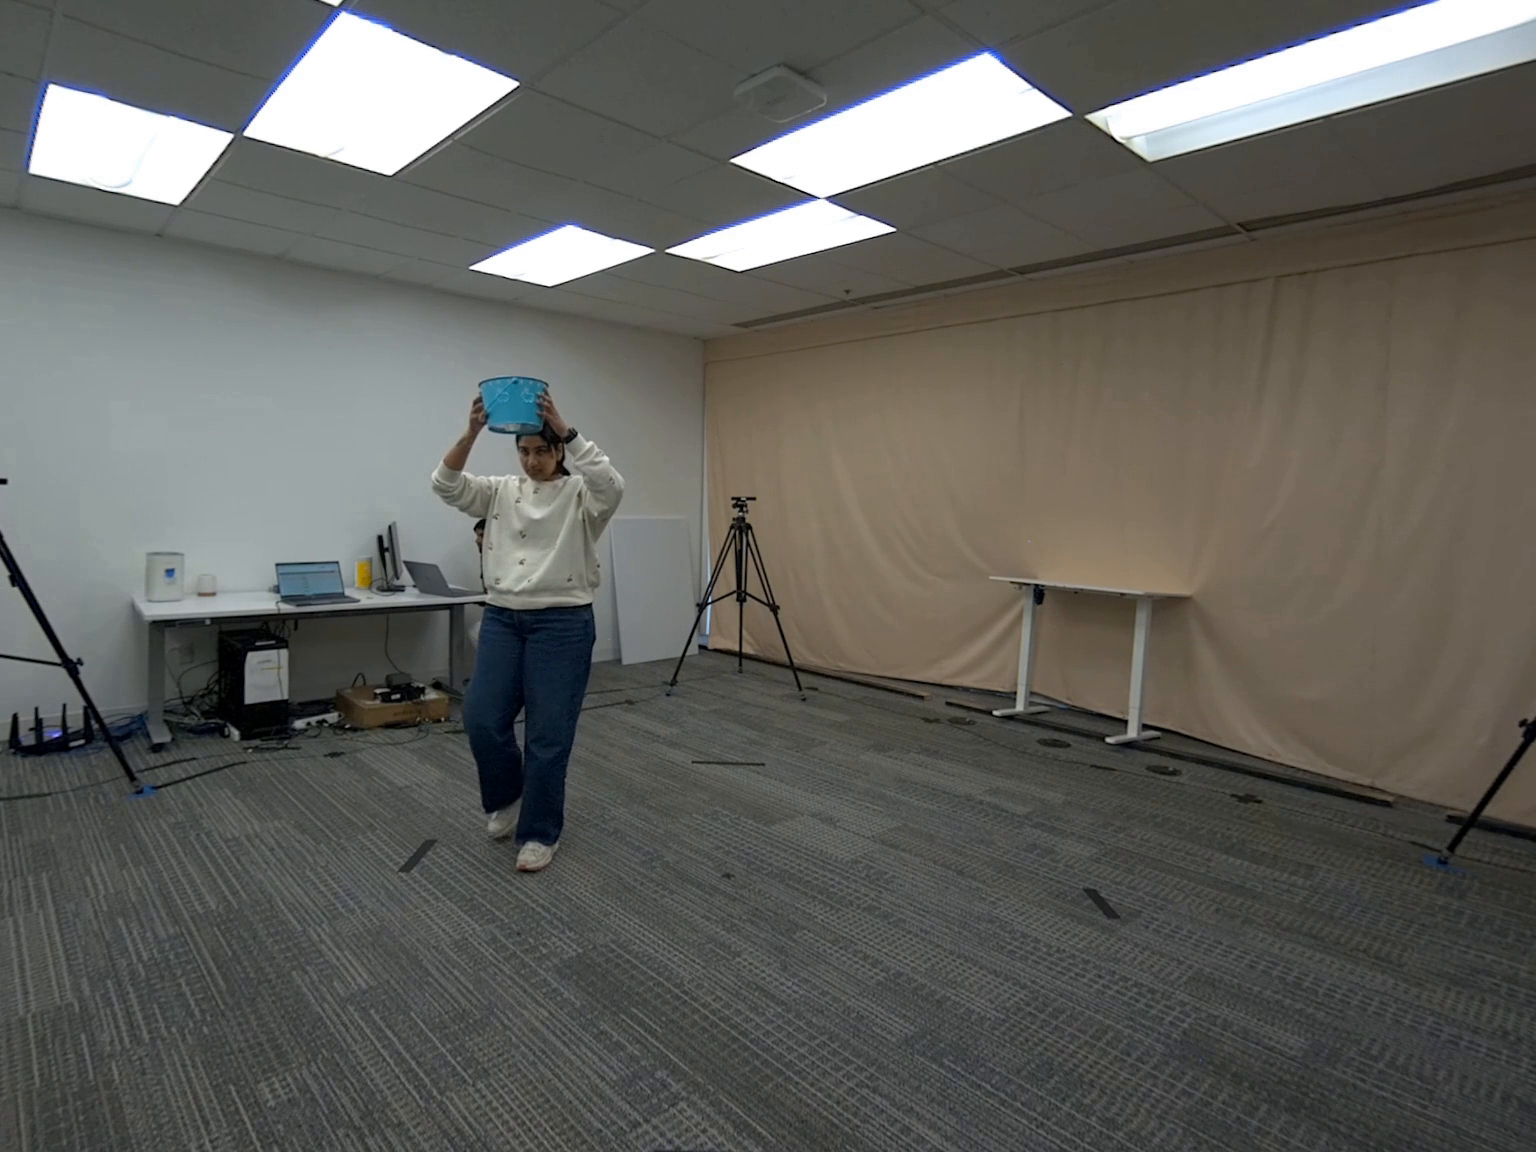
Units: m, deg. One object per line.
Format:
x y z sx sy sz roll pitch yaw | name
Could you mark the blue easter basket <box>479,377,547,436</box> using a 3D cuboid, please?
-0.886 -0.581 2.872 0.243 0.156 0.243 -3 -3 -2 | blue easter basket
